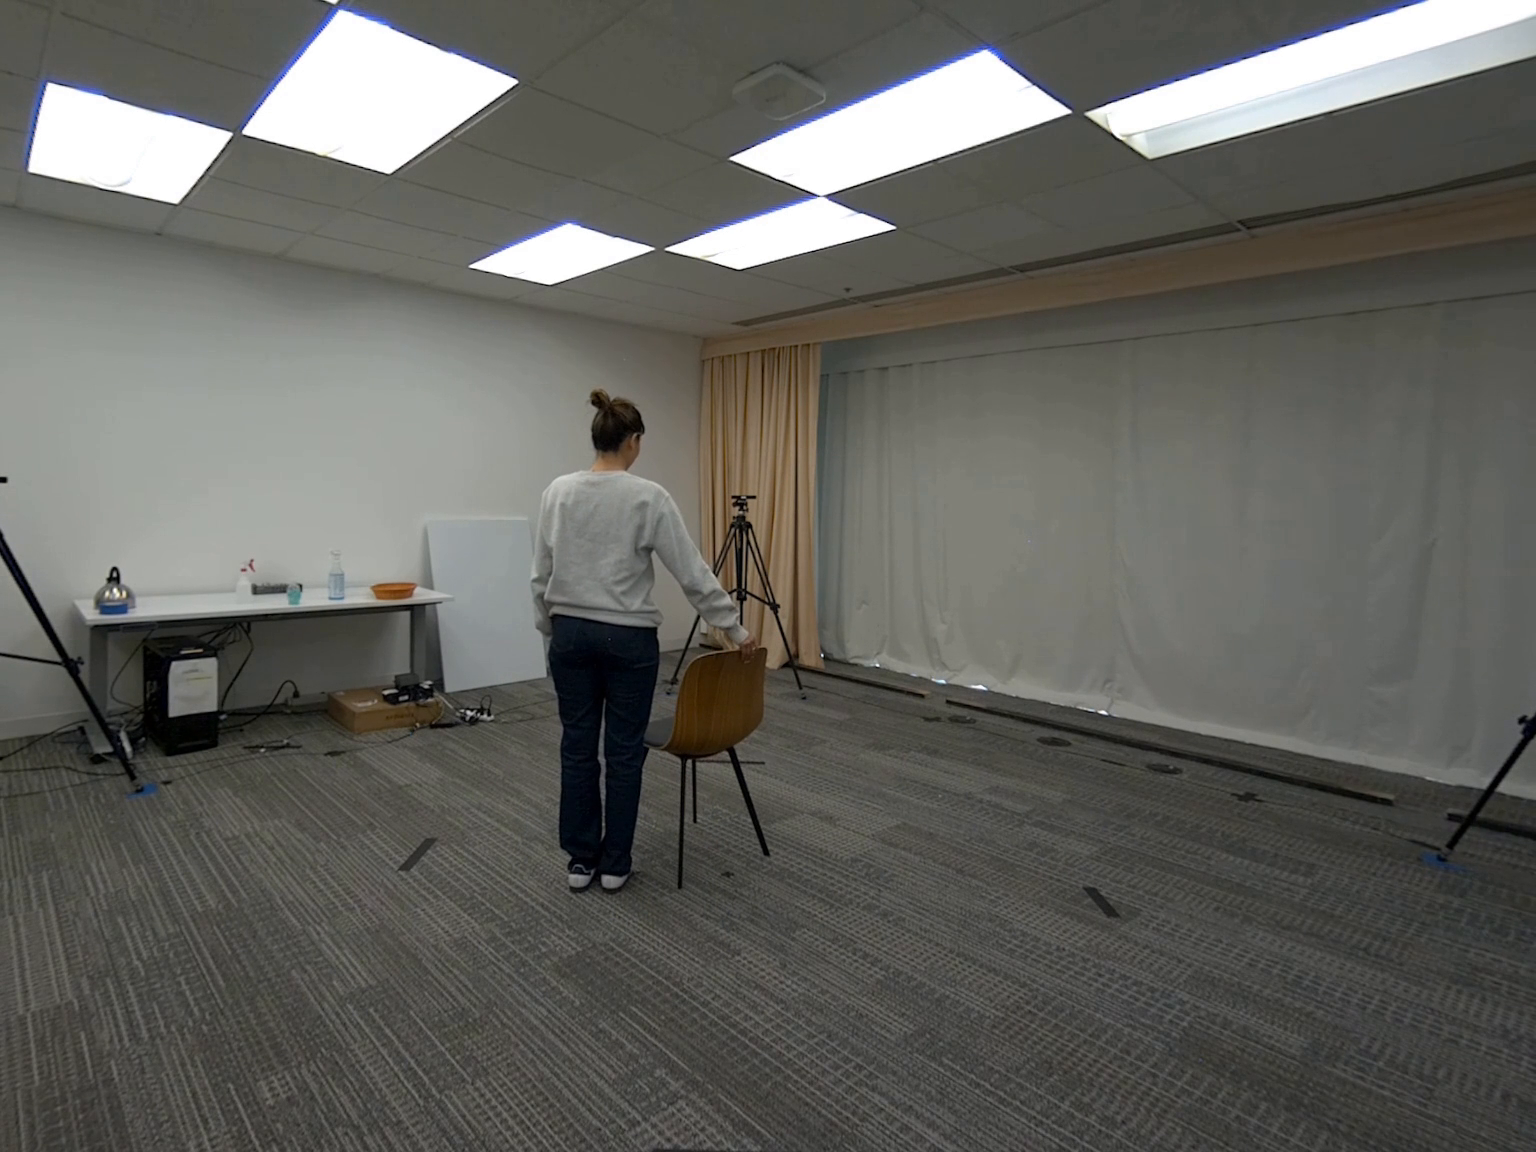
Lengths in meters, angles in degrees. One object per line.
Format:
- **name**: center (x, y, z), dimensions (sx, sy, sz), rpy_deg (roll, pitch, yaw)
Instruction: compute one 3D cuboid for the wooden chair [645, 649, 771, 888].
- **wooden chair**: center (-0.307, 0.658, 3.267), dimensions (0.467, 0.873, 0.537), rpy_deg (-2, 9, -43)
